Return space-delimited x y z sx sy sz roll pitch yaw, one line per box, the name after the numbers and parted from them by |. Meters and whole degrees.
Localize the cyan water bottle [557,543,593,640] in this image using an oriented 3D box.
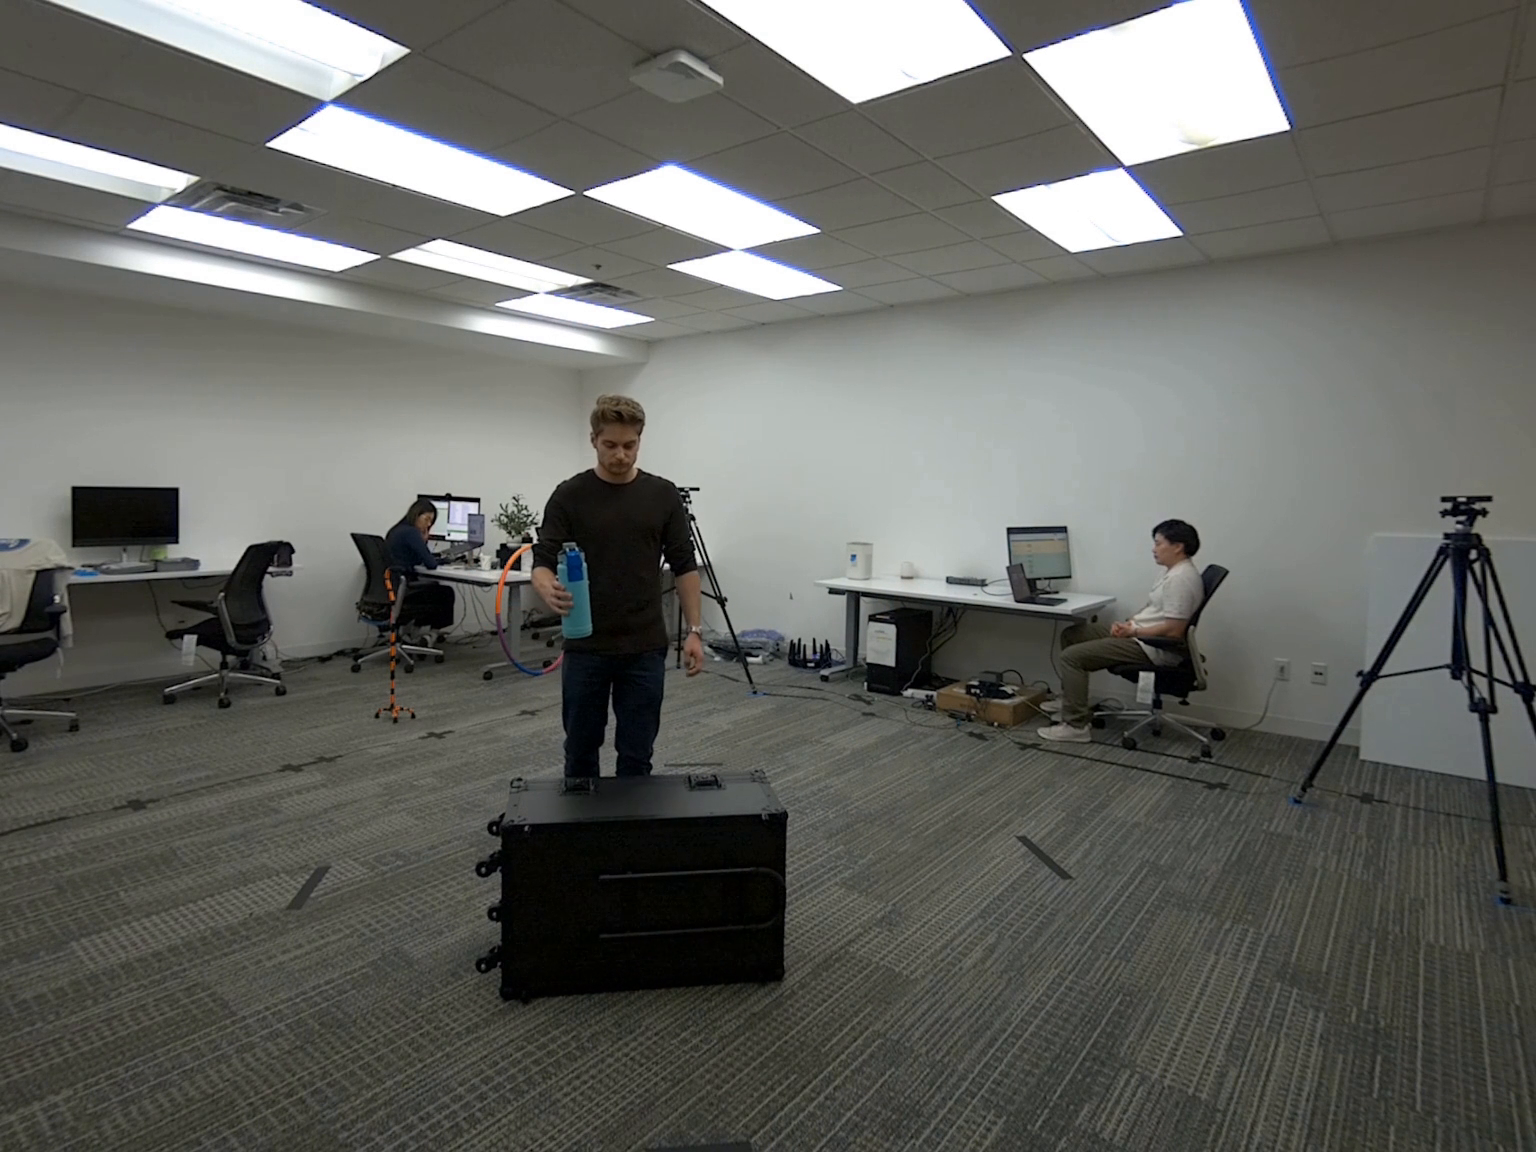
-0.600 0.036 2.602 0.092 0.280 0.093 0 12 -2 | cyan water bottle
